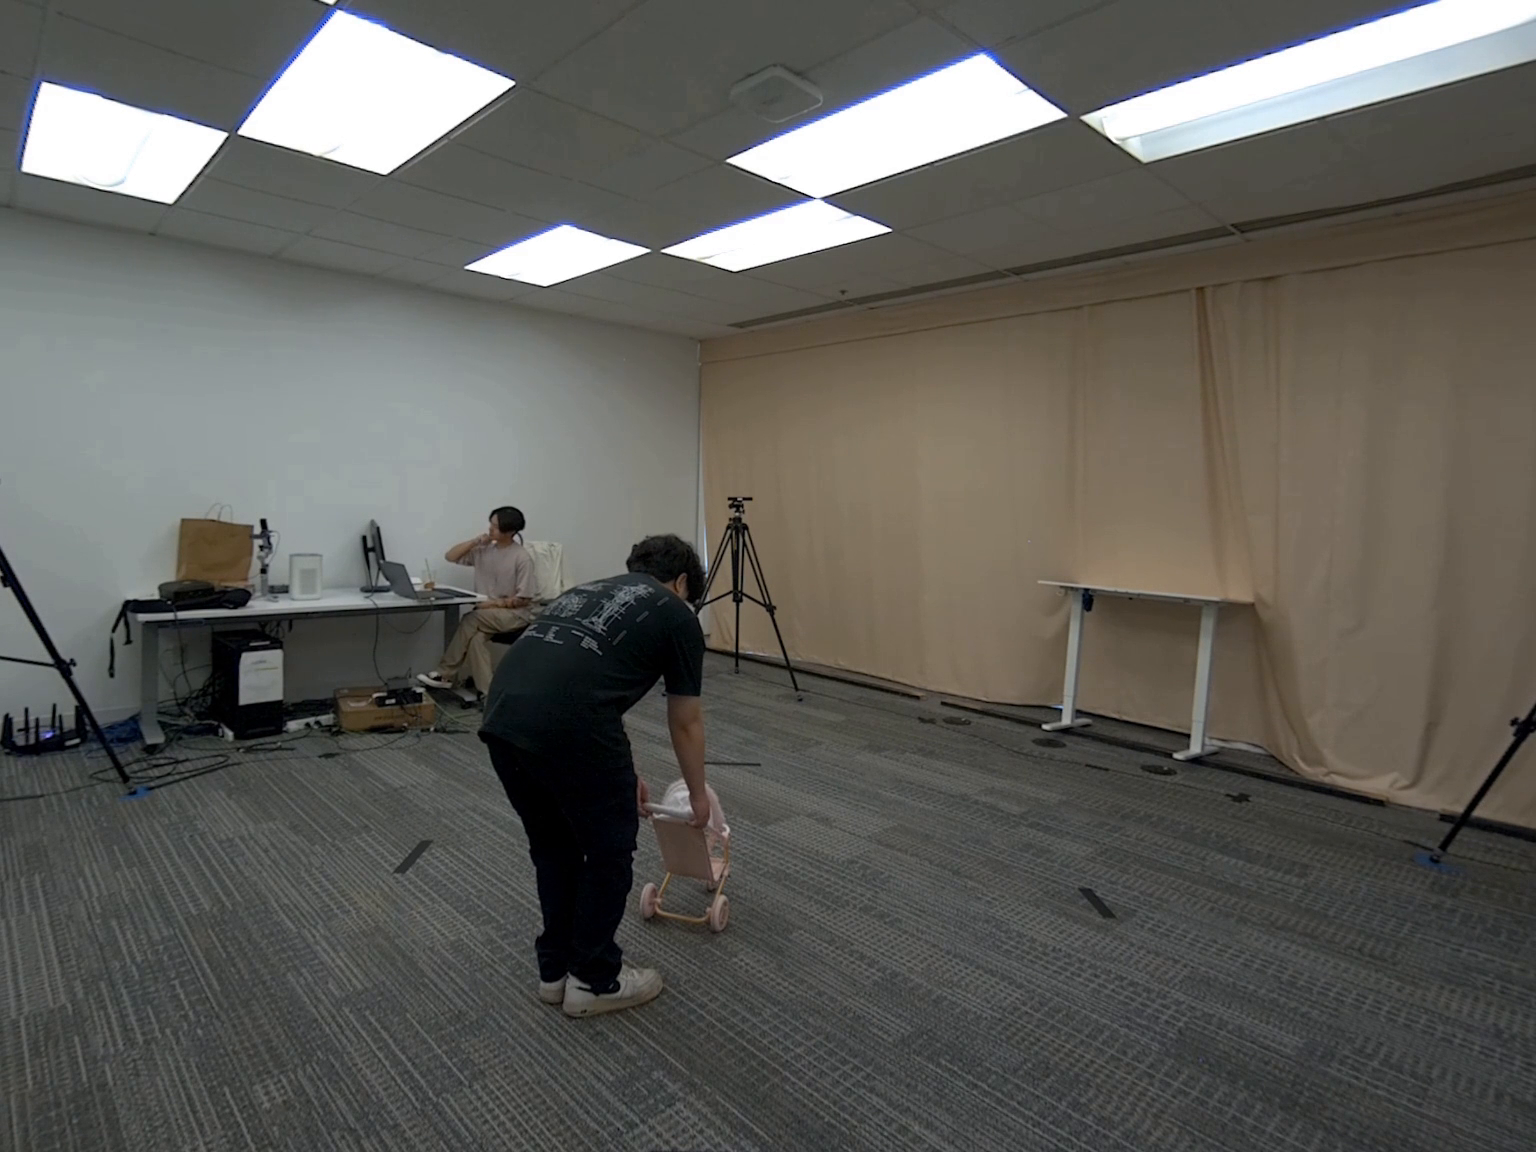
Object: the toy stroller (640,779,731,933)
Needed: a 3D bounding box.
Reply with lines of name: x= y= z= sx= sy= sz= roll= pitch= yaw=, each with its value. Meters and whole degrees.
toy stroller: x=-0.253 y=0.909 z=2.798 sx=0.286 sy=0.528 sz=0.340 roll=4 pitch=19 yaw=21
